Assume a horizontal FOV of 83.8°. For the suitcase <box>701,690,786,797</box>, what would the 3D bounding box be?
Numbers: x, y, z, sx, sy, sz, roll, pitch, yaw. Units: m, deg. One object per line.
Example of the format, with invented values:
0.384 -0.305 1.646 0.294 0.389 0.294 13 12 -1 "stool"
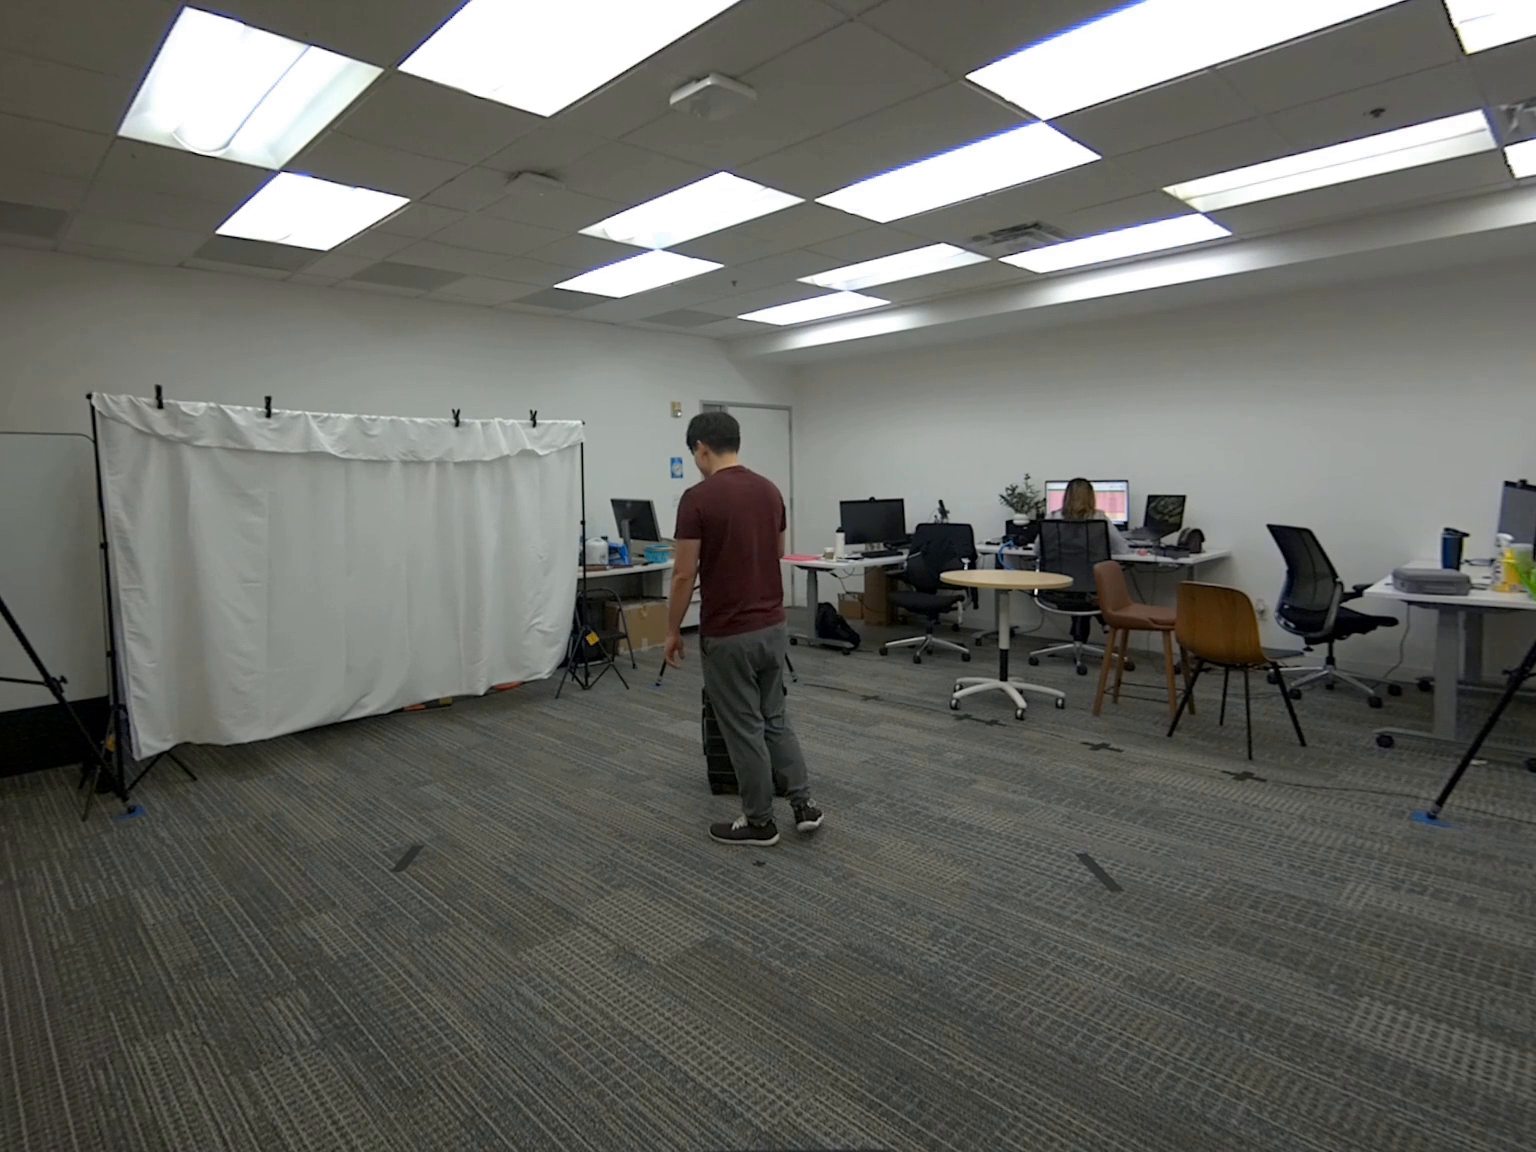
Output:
-0.106 0.488 3.879 0.386 0.977 0.256 -2 2 6 "suitcase"
